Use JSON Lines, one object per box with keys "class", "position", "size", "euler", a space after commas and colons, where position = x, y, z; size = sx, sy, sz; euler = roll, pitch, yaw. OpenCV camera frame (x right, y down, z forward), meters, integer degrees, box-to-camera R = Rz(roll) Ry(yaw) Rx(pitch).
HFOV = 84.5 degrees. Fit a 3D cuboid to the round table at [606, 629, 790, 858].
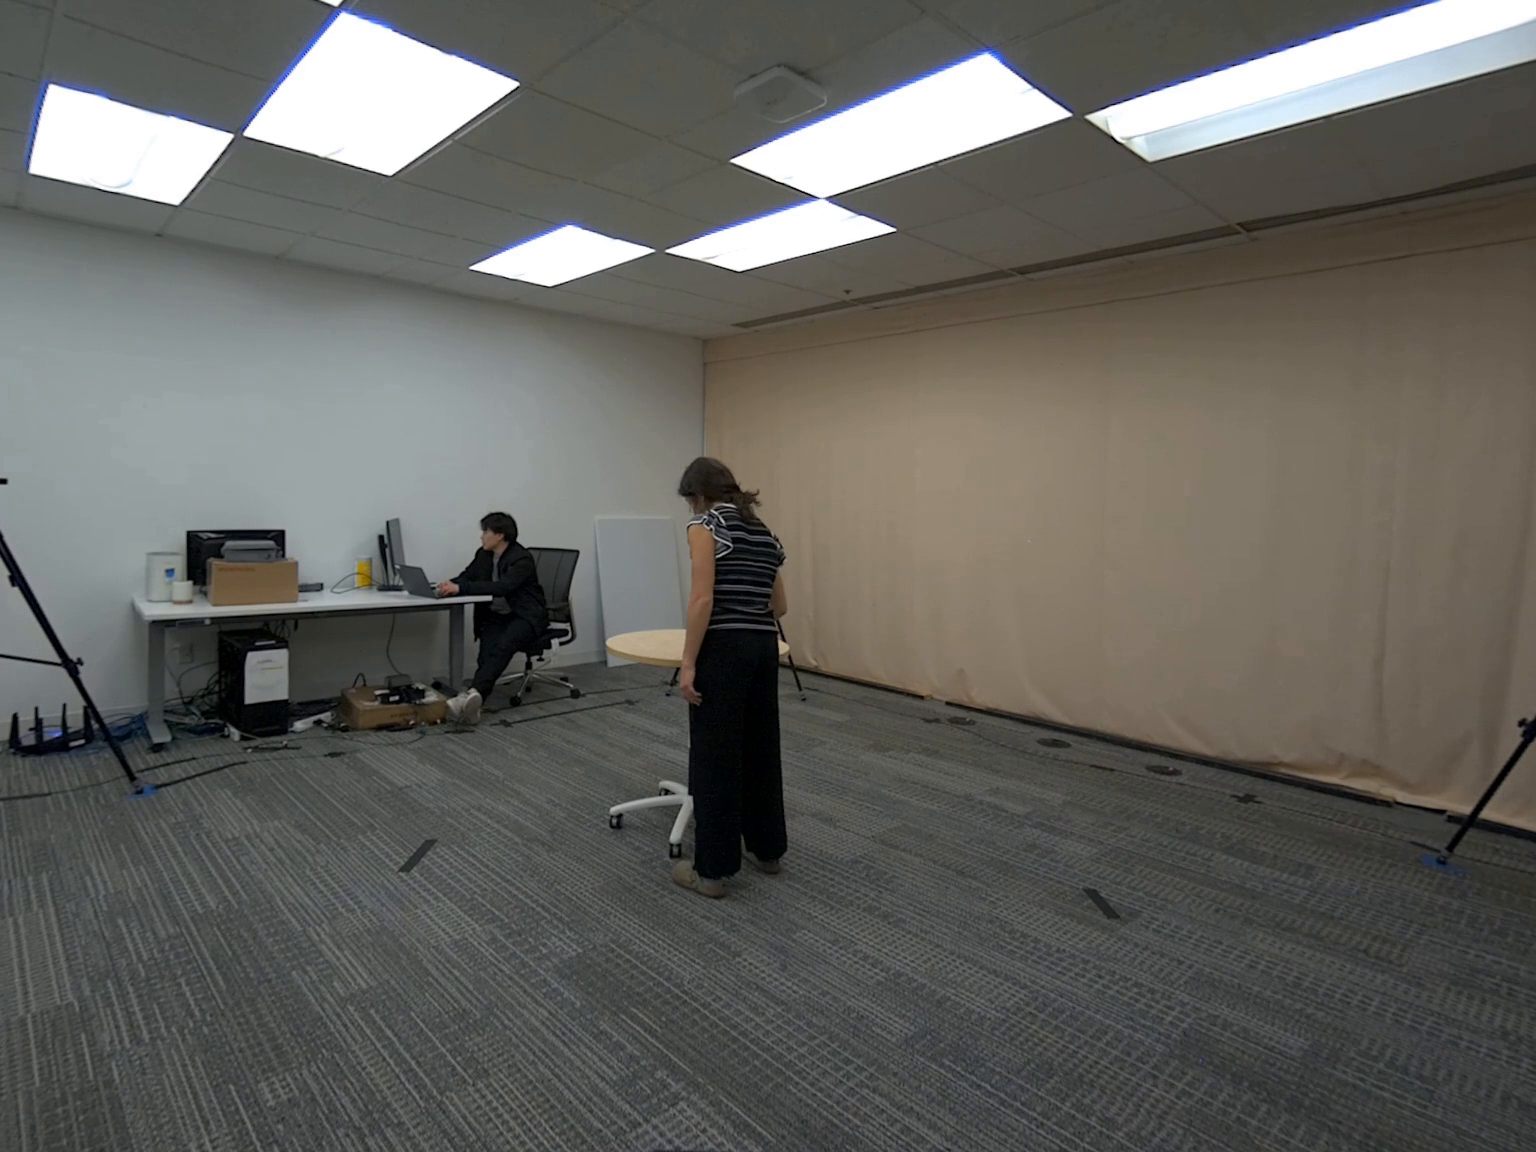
{"class": "round table", "position": [-0.319, 0.676, 3.551], "size": [0.763, 0.792, 0.766], "euler": [2, 4, -1]}
